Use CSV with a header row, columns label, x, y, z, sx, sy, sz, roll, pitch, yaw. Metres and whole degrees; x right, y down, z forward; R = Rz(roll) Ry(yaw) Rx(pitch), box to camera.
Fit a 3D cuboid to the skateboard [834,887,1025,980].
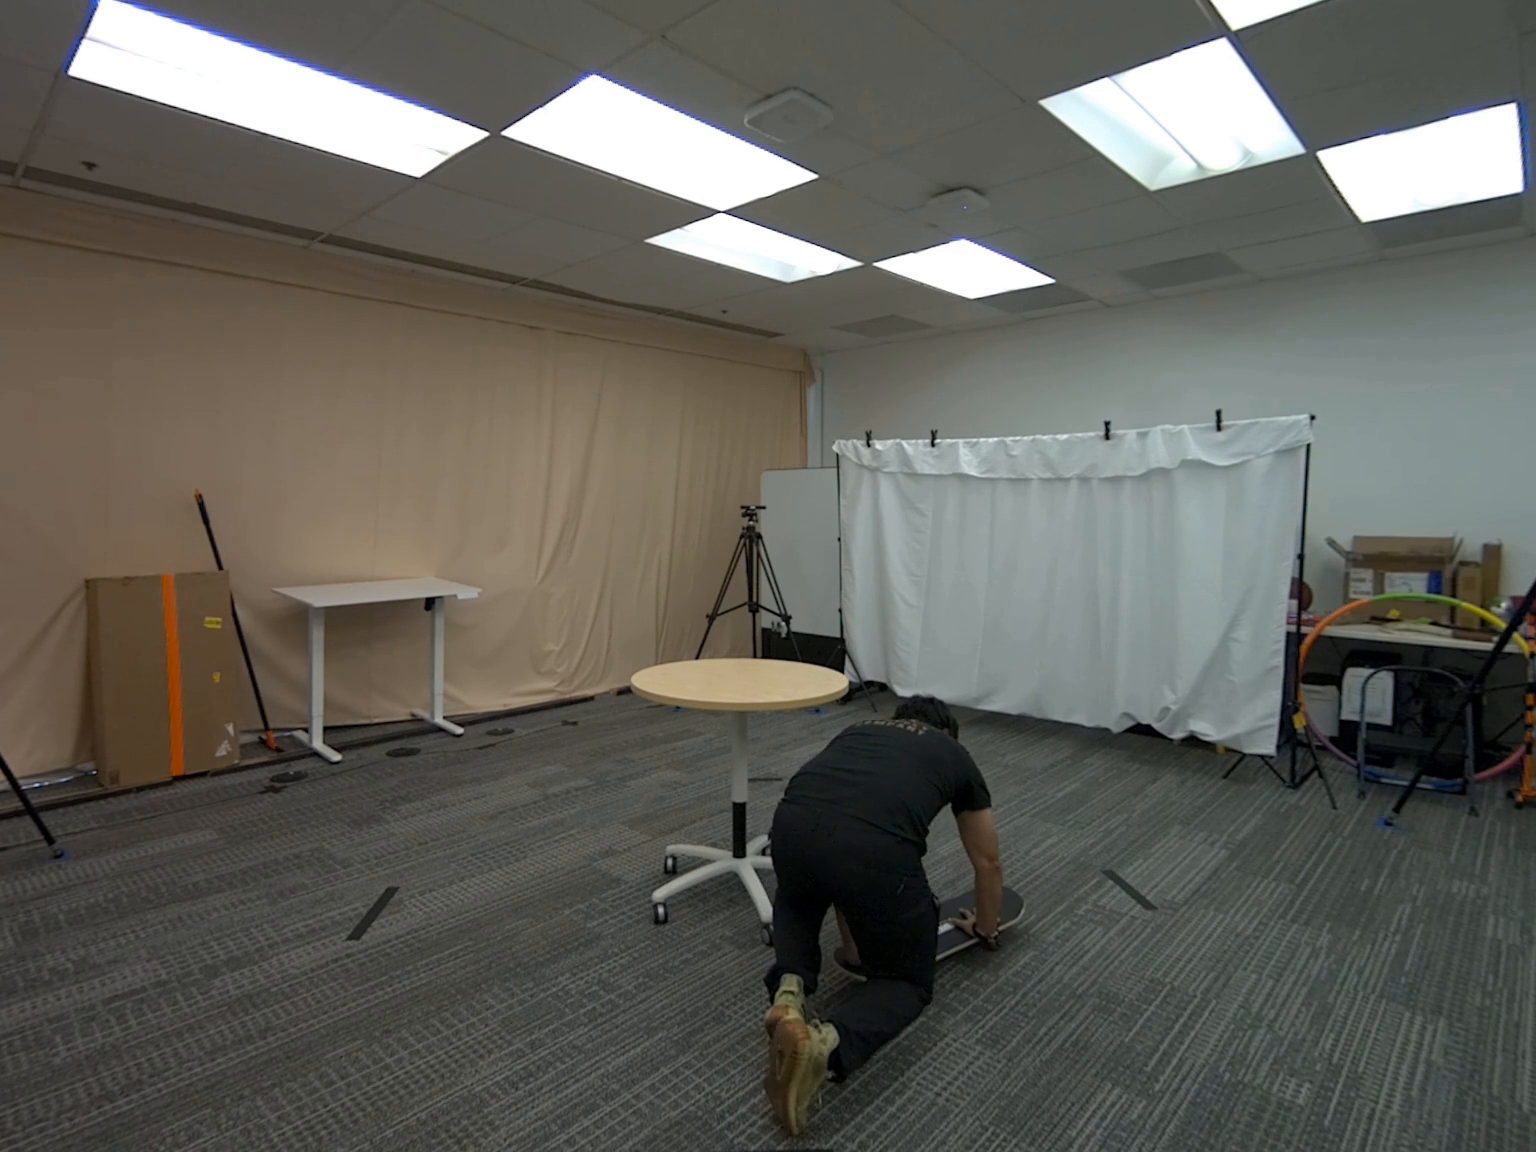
label,x,y,z,sx,sy,sz,roll,pitch,yaw
skateboard,0.515,1.127,2.577,0.762,0.110,0.200,-4,9,-36
